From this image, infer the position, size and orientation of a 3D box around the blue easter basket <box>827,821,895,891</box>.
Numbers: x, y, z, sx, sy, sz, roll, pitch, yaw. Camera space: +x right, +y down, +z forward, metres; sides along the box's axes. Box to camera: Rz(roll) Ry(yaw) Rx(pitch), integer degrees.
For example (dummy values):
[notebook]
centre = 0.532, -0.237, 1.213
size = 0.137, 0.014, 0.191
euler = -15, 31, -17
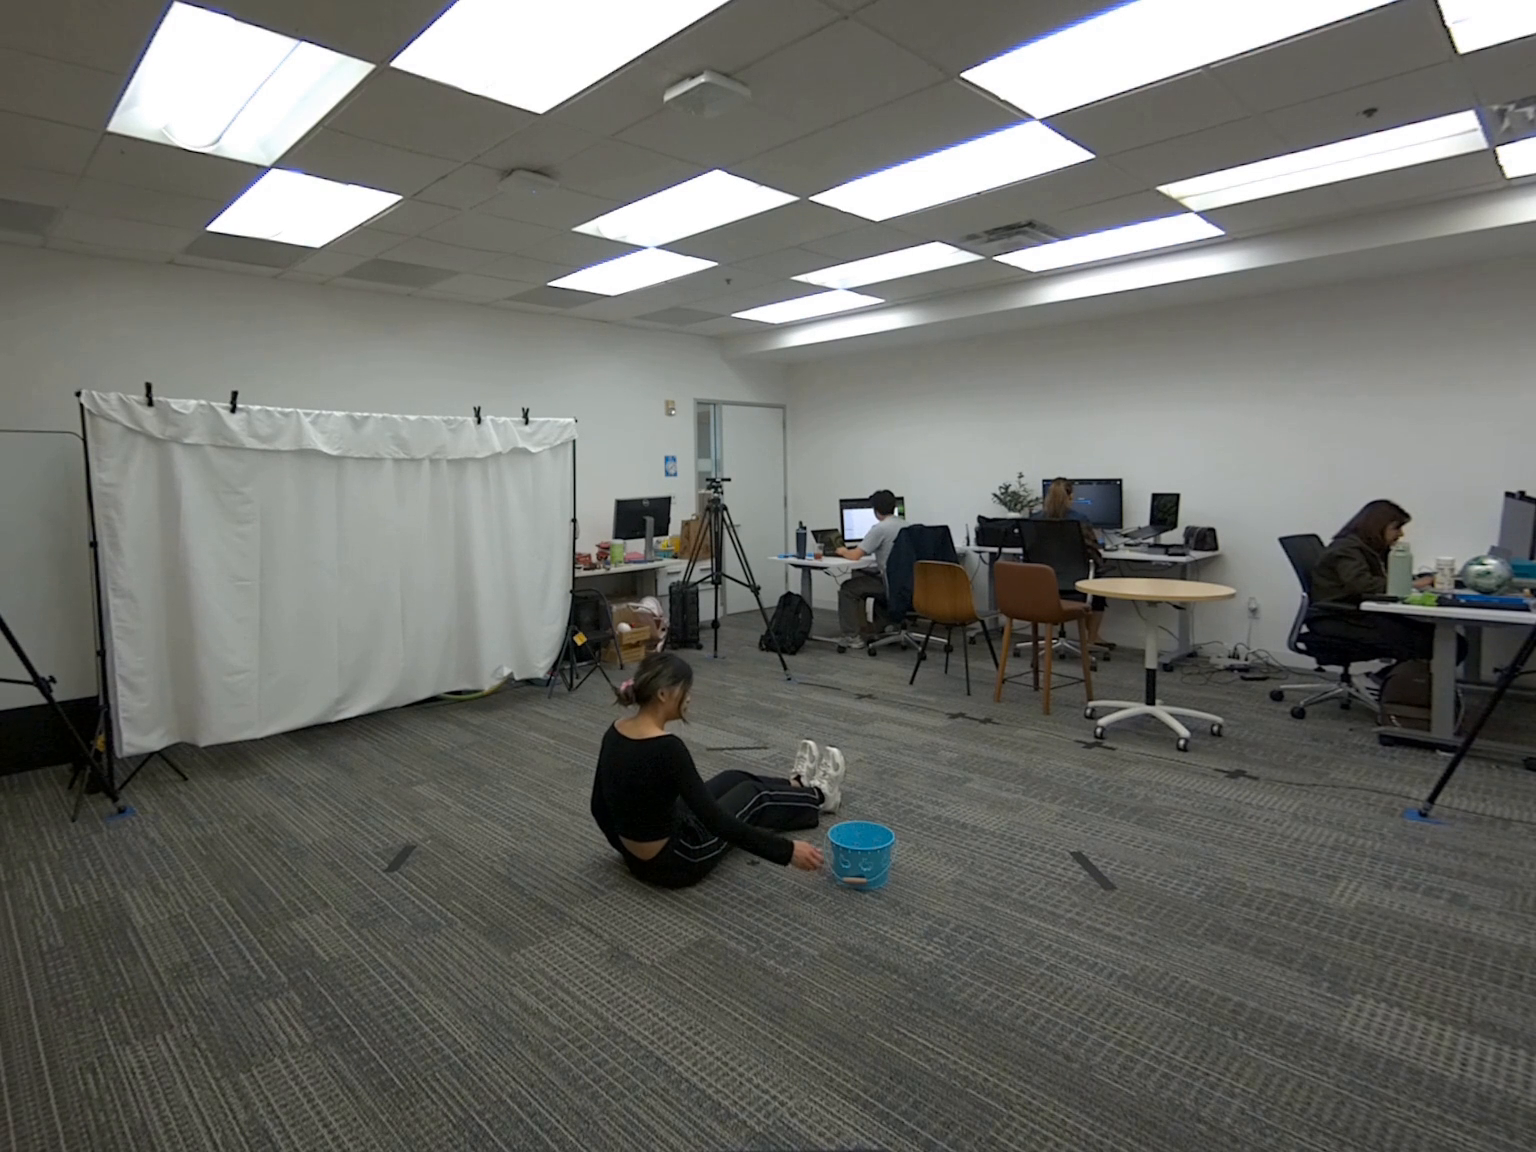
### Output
[blue easter basket]
centre = 0.320, 0.964, 2.968
size = 0.243, 0.155, 0.245
euler = -1, 6, -2
